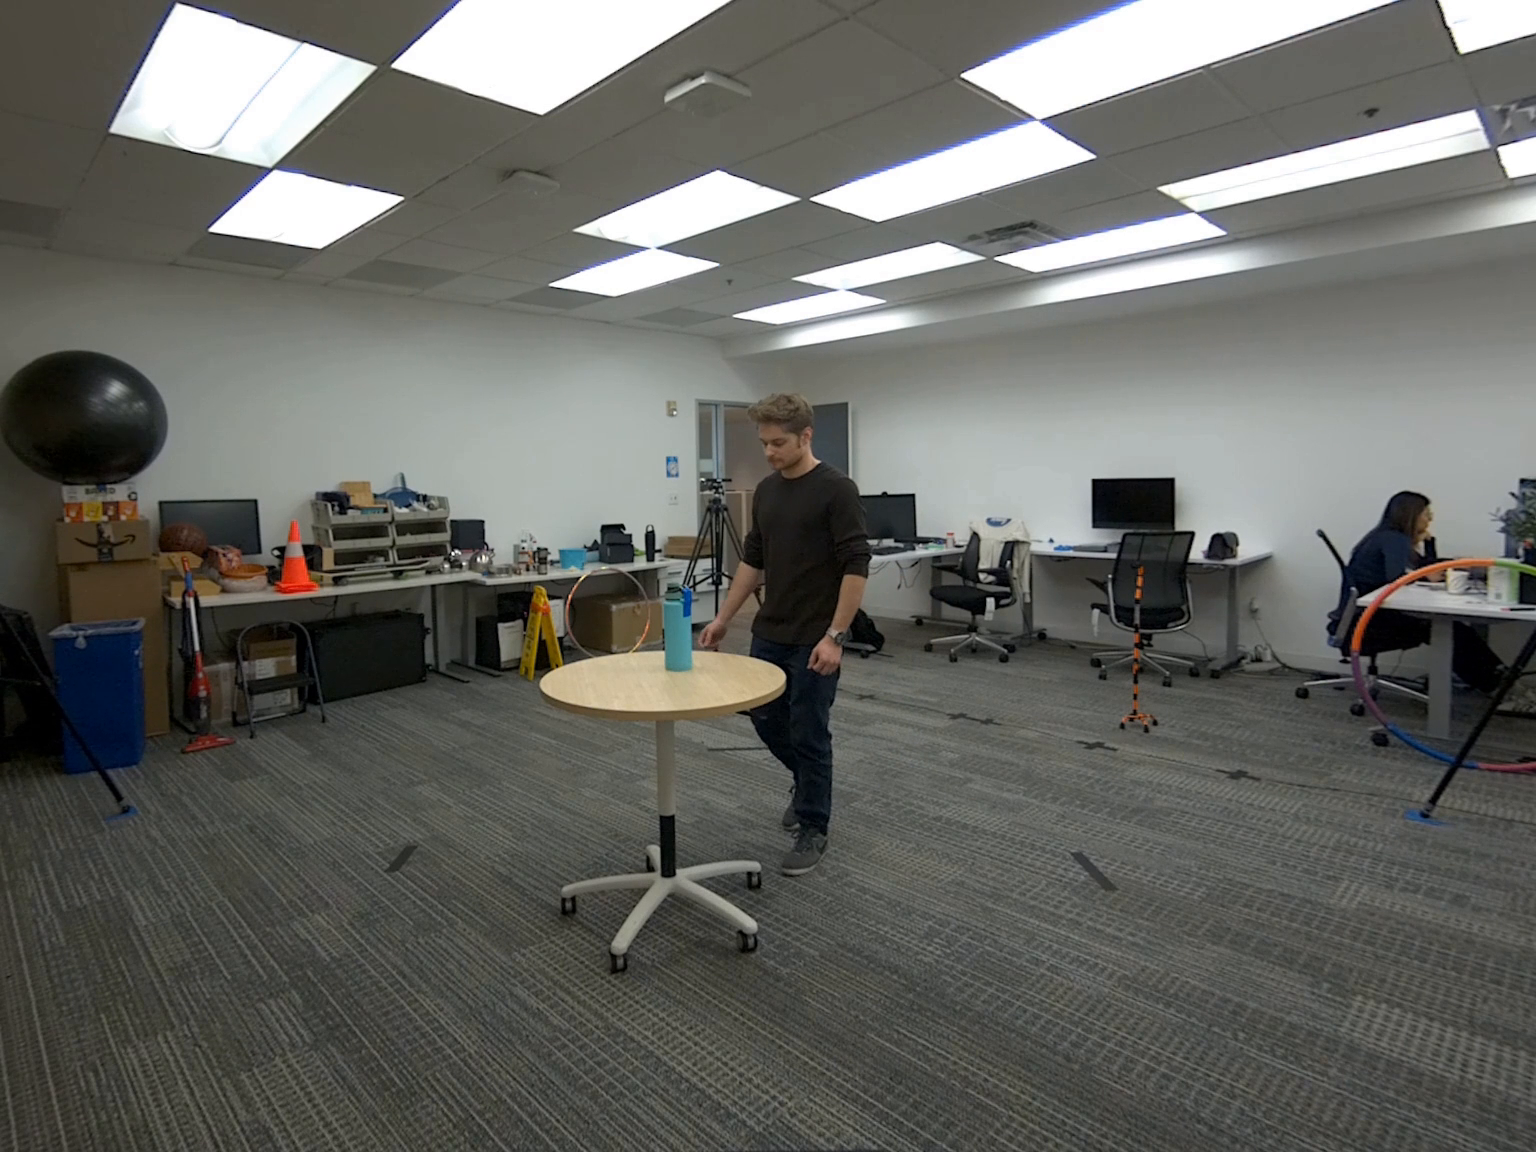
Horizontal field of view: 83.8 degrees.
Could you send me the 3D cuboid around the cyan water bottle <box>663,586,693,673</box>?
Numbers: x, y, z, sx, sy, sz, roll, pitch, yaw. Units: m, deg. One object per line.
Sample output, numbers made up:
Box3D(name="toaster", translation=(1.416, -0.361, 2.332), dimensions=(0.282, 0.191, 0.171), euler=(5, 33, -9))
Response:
Box3D(name="cyan water bottle", translation=(-0.290, 0.165, 2.772), dimensions=(0.092, 0.282, 0.093), euler=(-1, 6, -2))
